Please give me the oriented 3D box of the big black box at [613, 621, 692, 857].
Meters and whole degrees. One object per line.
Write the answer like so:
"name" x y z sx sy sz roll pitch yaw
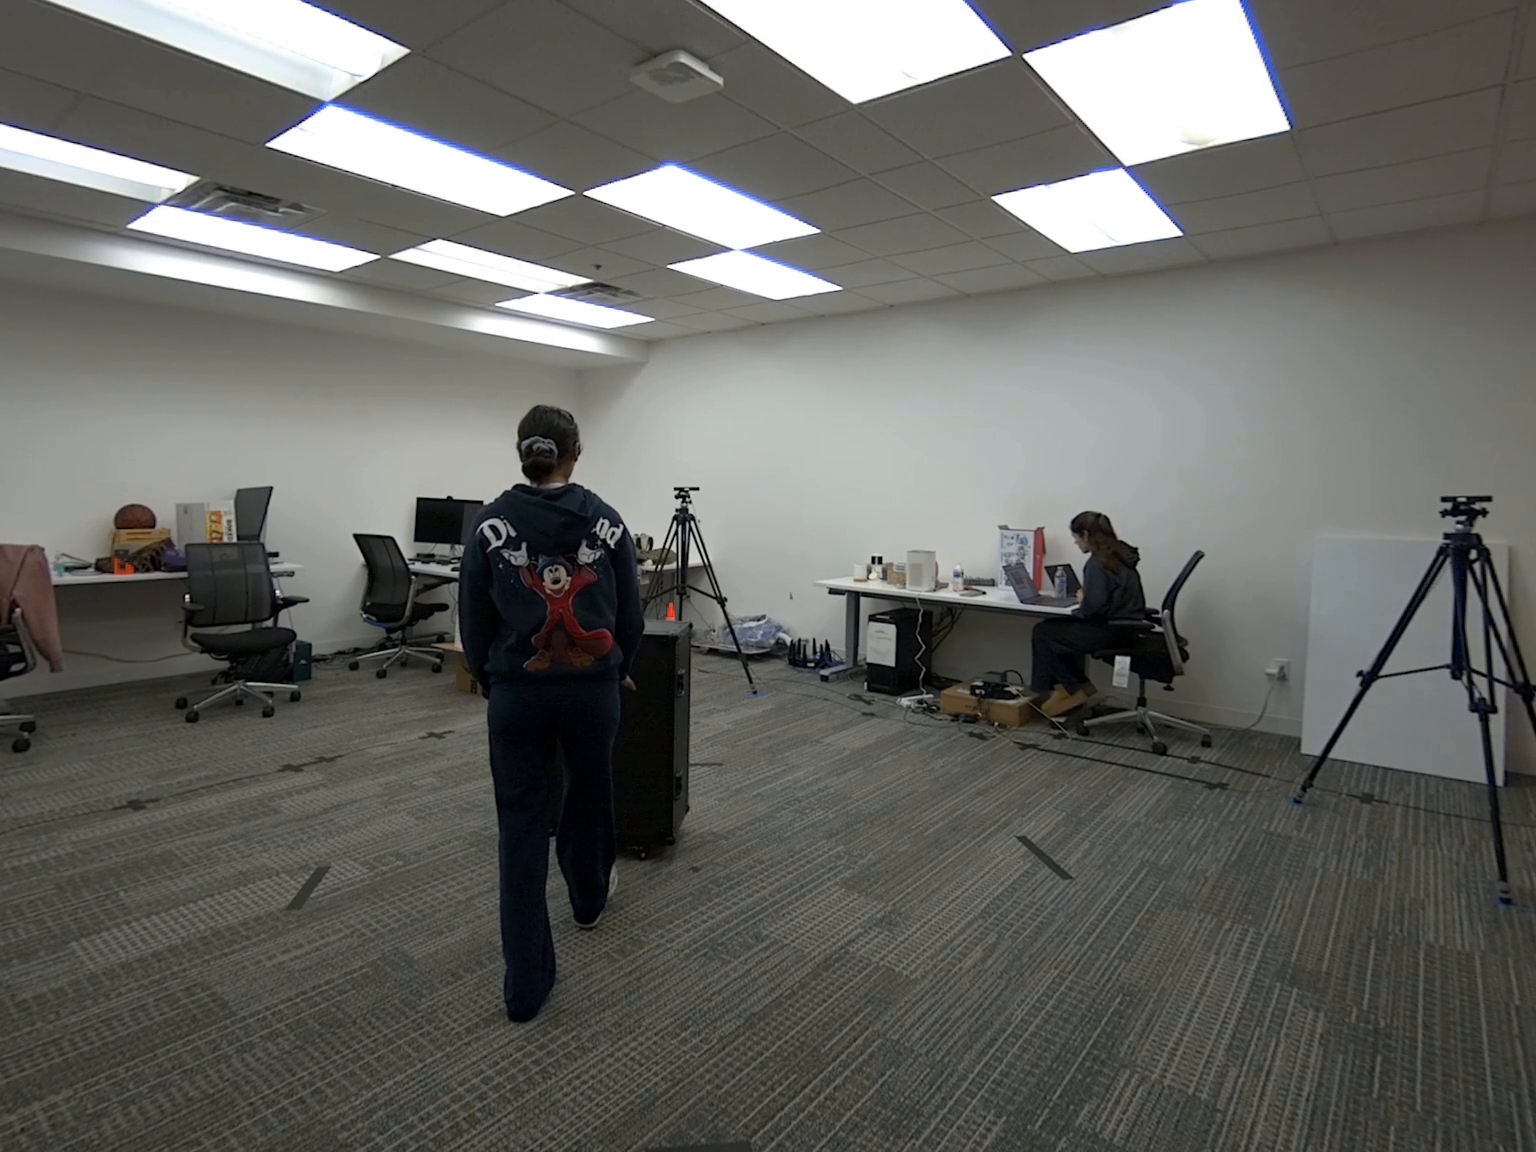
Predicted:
"big black box" -0.578 0.618 3.342 0.526 0.860 0.394 2 2 7
